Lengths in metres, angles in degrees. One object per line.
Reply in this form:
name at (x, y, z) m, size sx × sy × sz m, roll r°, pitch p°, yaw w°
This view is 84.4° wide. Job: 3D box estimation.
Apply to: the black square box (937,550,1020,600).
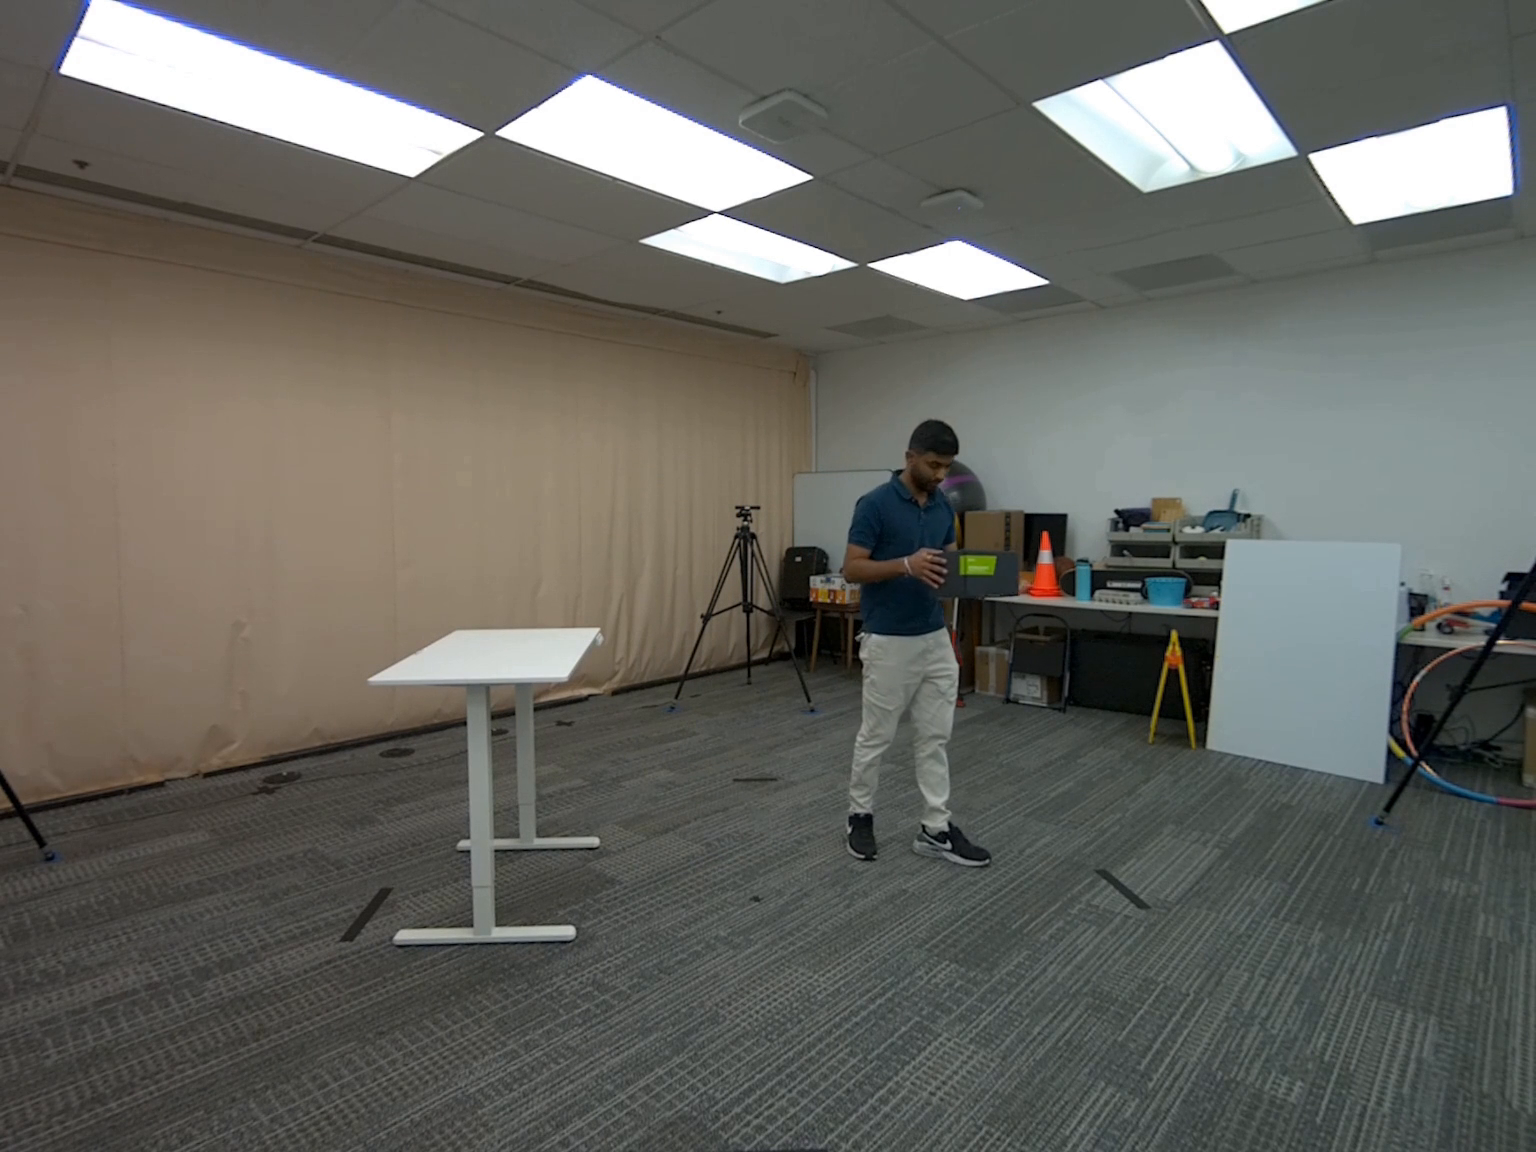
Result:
black square box at (0.739, 0.001, 2.975) m, size 0.224 × 0.156 × 0.220 m, roll 1°, pitch -5°, yaw -16°
